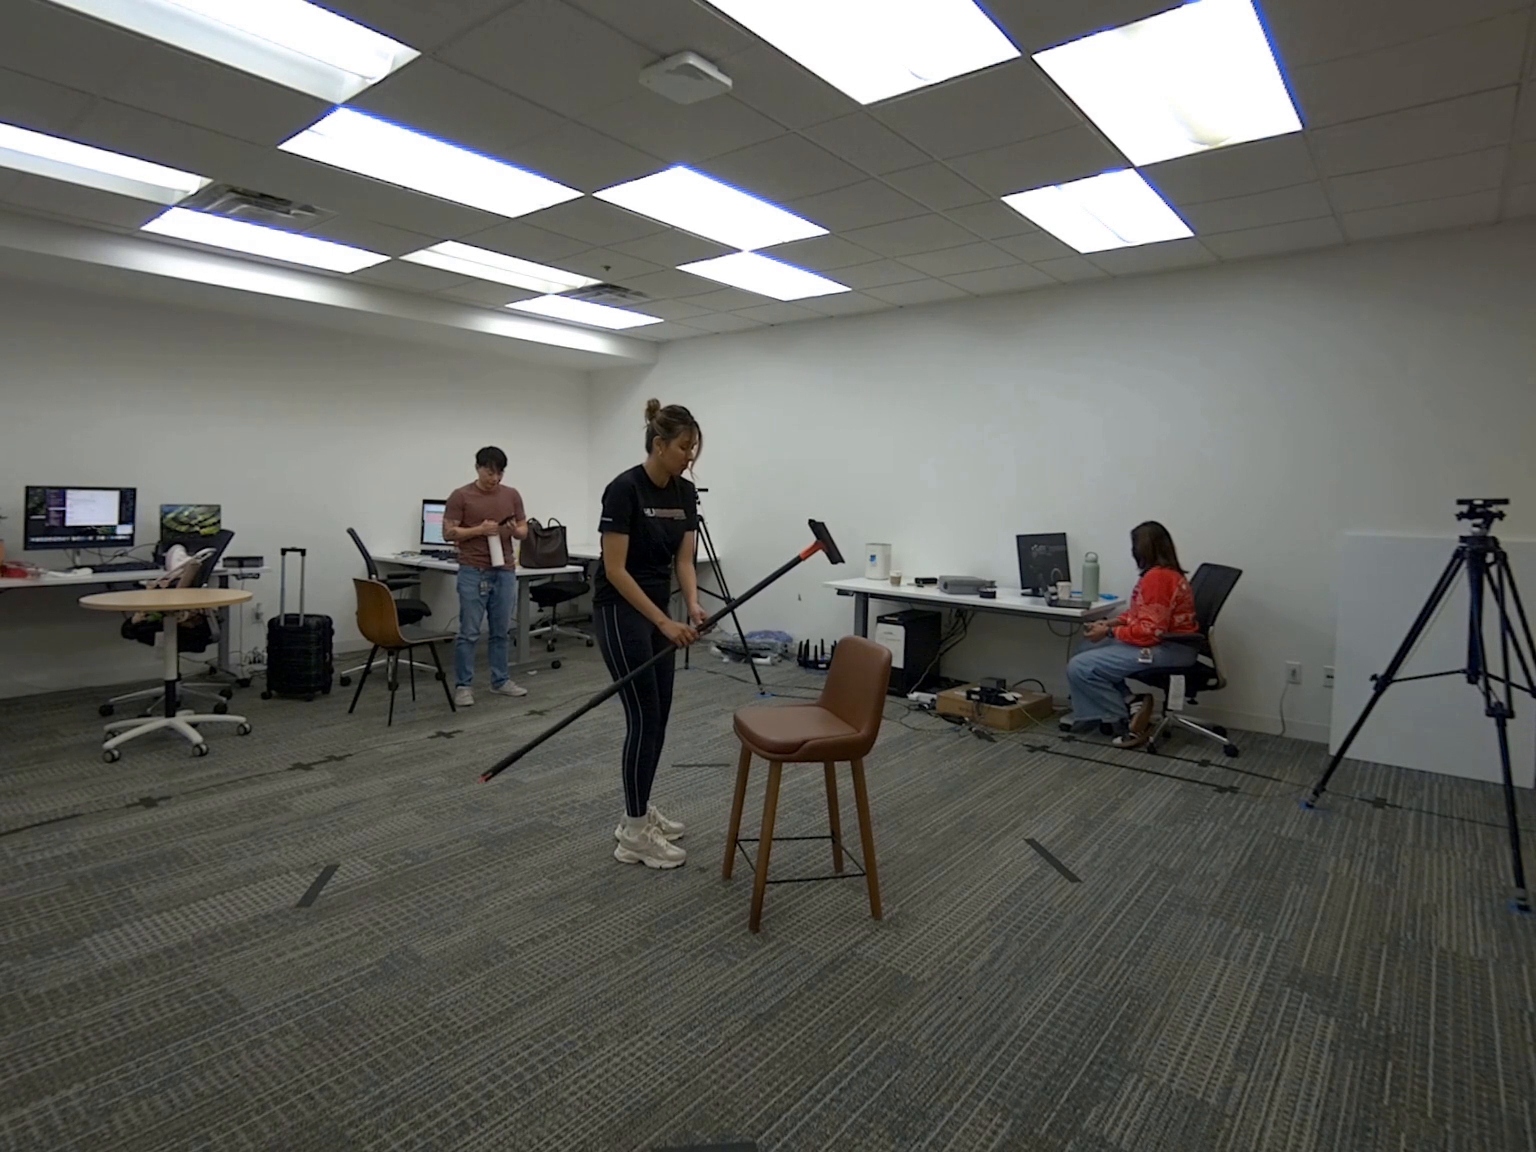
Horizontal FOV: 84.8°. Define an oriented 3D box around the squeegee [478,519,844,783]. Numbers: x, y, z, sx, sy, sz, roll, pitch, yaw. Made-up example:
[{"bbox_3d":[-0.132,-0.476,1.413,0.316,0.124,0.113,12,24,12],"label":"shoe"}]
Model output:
[{"bbox_3d":[-0.426,0.320,3.007,1.539,0.055,0.422,-35,-28,3],"label":"squeegee"}]
